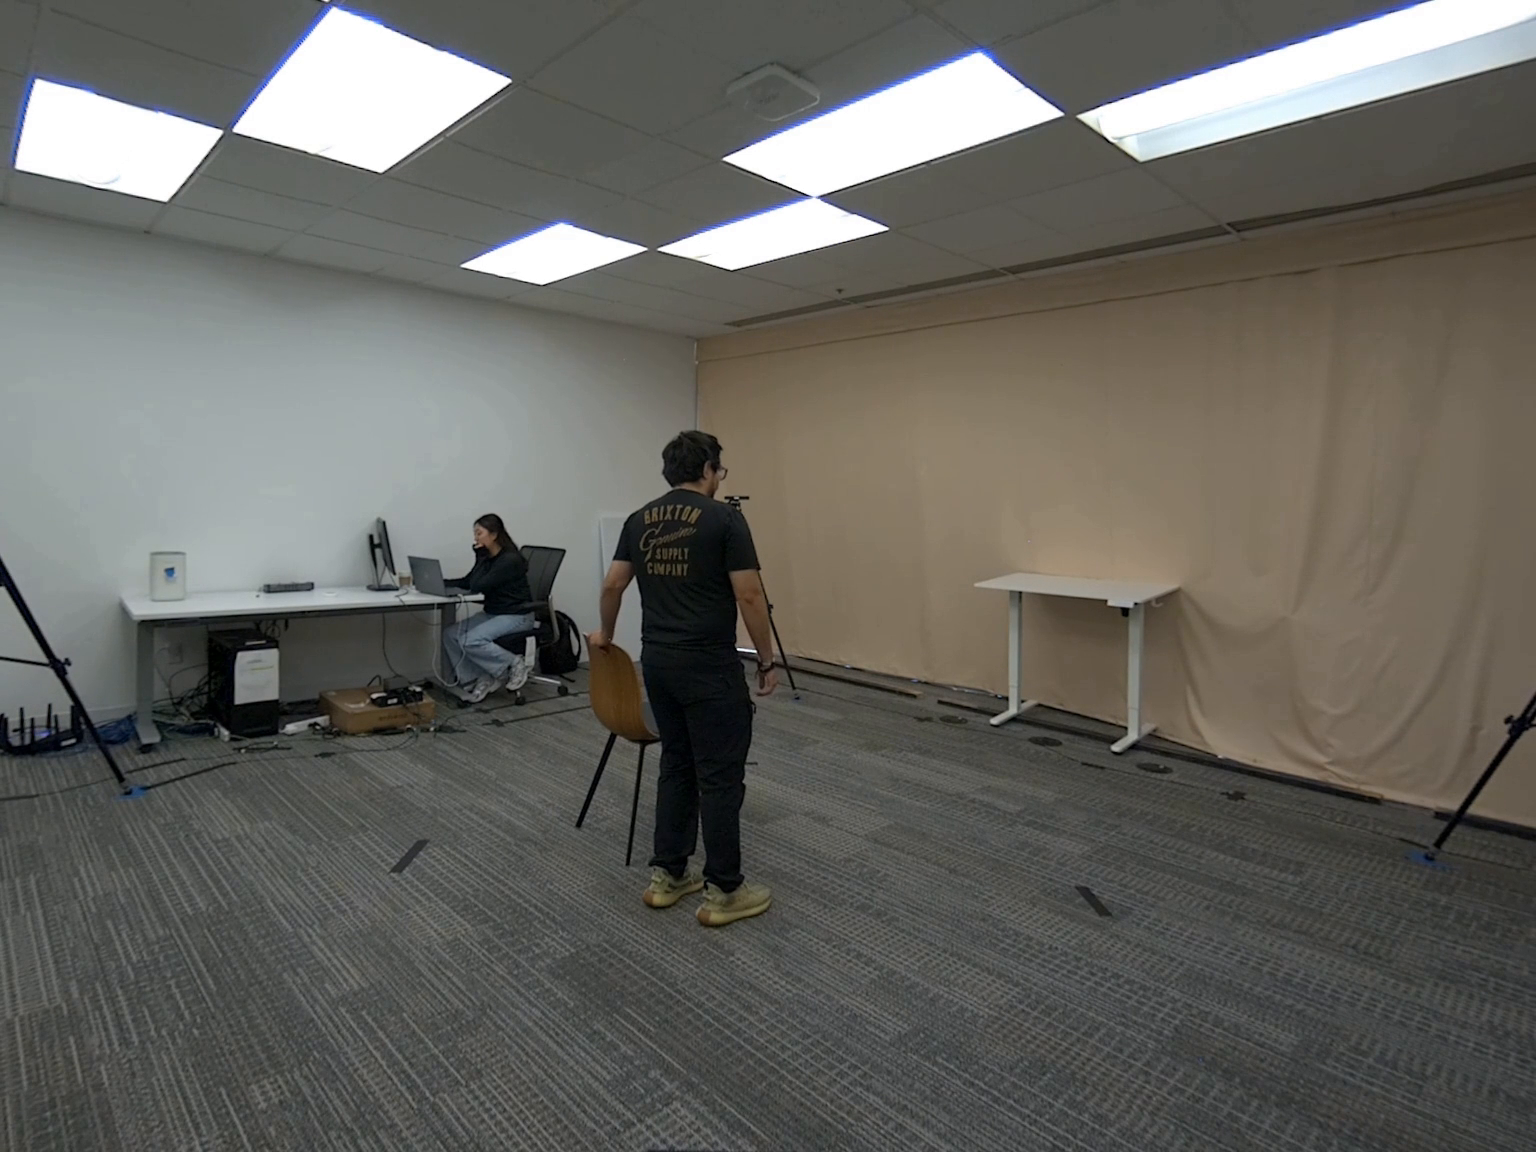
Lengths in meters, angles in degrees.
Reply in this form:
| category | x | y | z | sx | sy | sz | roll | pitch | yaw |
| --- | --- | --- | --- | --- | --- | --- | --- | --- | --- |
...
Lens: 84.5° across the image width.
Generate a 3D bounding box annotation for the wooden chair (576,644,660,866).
| category | x | y | z | sx | sy | sz | roll | pitch | yaw |
| --- | --- | --- | --- | --- | --- | --- | --- | --- | --- |
| wooden chair | -0.477 | 0.640 | 3.447 | 0.512 | 0.873 | 0.490 | -6 | 7 | -37 |
